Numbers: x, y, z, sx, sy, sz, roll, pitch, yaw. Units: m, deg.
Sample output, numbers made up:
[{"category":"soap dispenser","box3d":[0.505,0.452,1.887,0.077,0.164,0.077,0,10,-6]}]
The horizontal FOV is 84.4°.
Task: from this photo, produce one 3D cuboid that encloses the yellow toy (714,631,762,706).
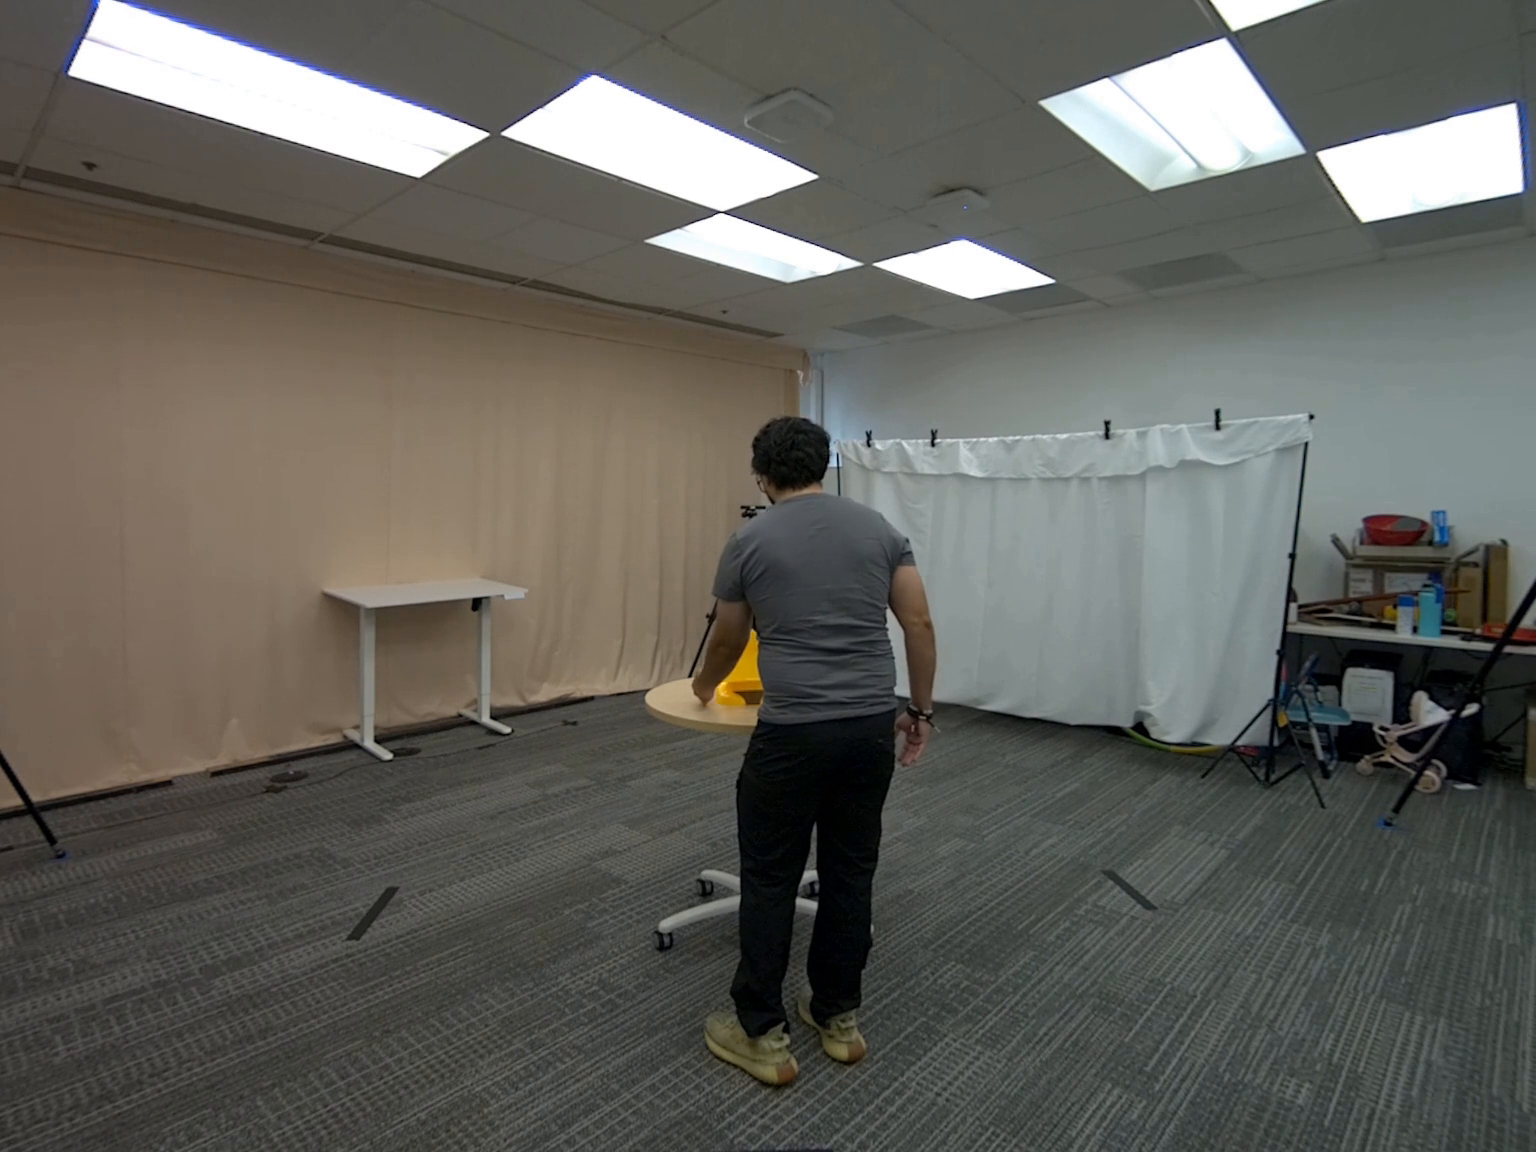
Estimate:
[{"category":"yellow toy","box3d":[-0.058,0.278,2.639,0.201,0.230,0.196,0,2,-16]}]
